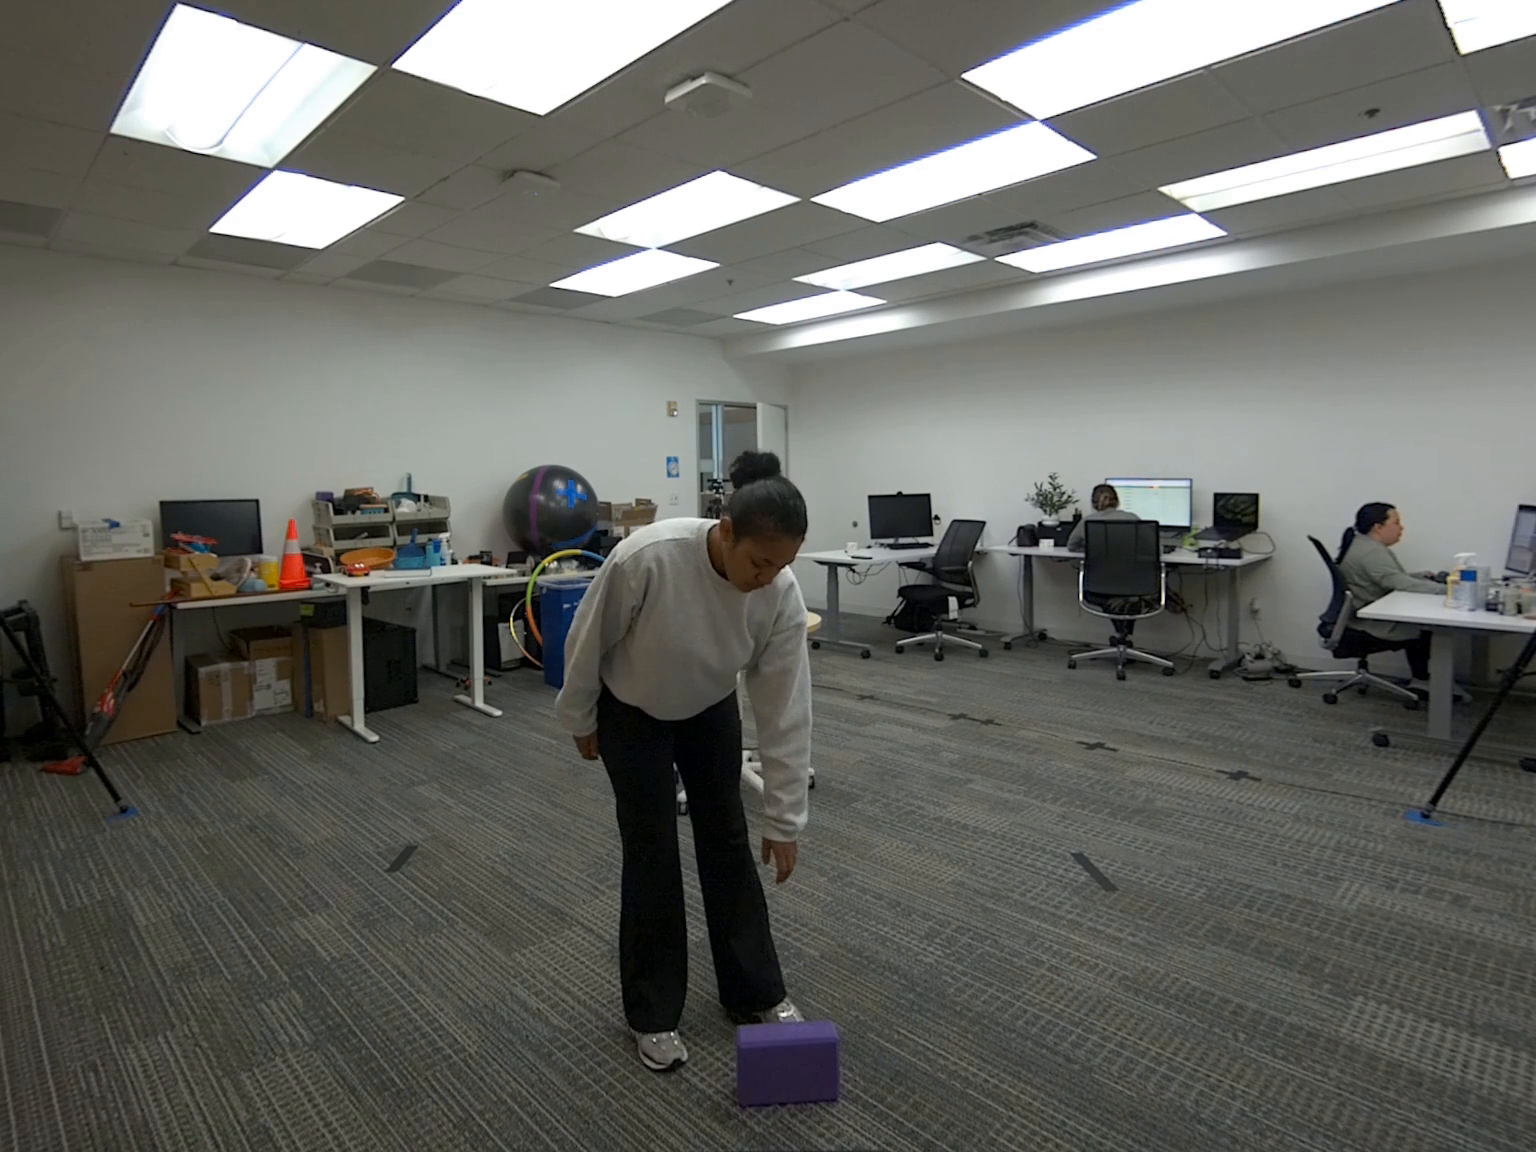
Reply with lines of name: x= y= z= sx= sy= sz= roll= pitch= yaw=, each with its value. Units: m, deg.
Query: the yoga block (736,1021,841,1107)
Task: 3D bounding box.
yoga block: x=0.050 y=1.108 z=1.939 sx=0.228 sy=0.148 sz=0.077 roll=0 pitch=4 yaw=-5
